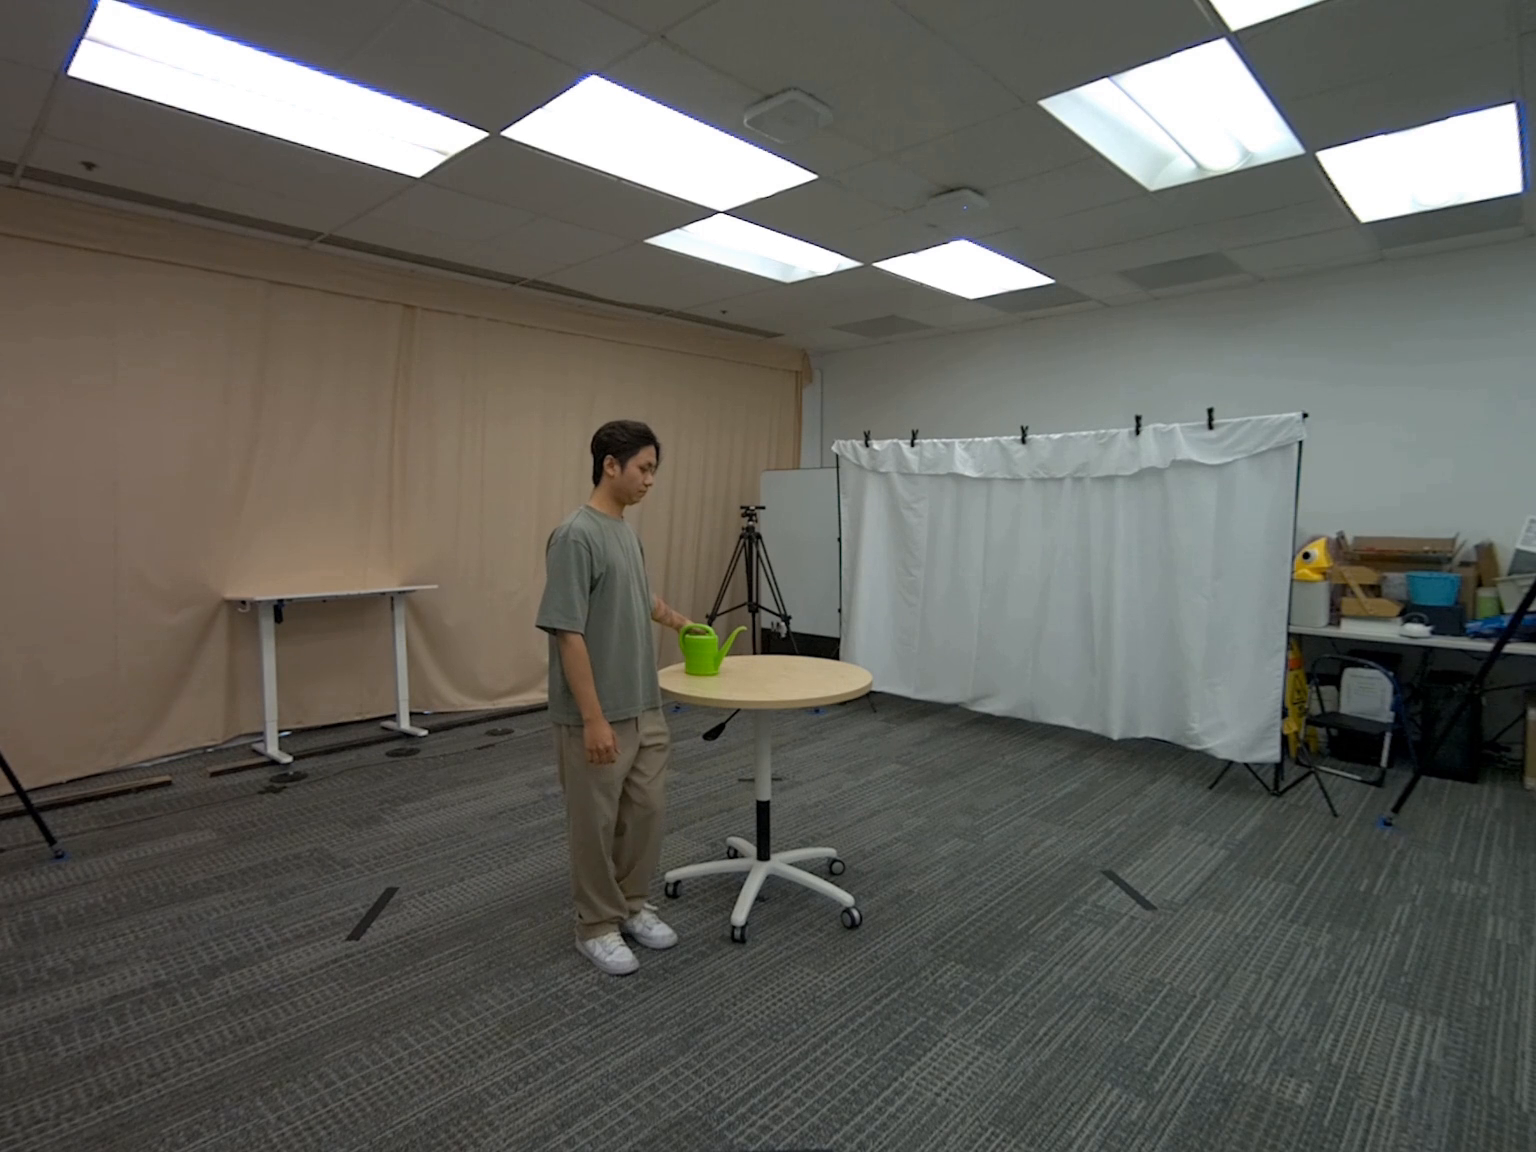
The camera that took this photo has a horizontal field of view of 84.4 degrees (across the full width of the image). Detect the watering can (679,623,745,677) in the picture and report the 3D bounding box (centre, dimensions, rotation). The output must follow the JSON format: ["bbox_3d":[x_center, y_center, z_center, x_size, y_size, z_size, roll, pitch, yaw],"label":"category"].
[{"bbox_3d":[-0.203,0.264,2.958,0.287,0.176,0.095,2,6,44],"label":"watering can"}]
